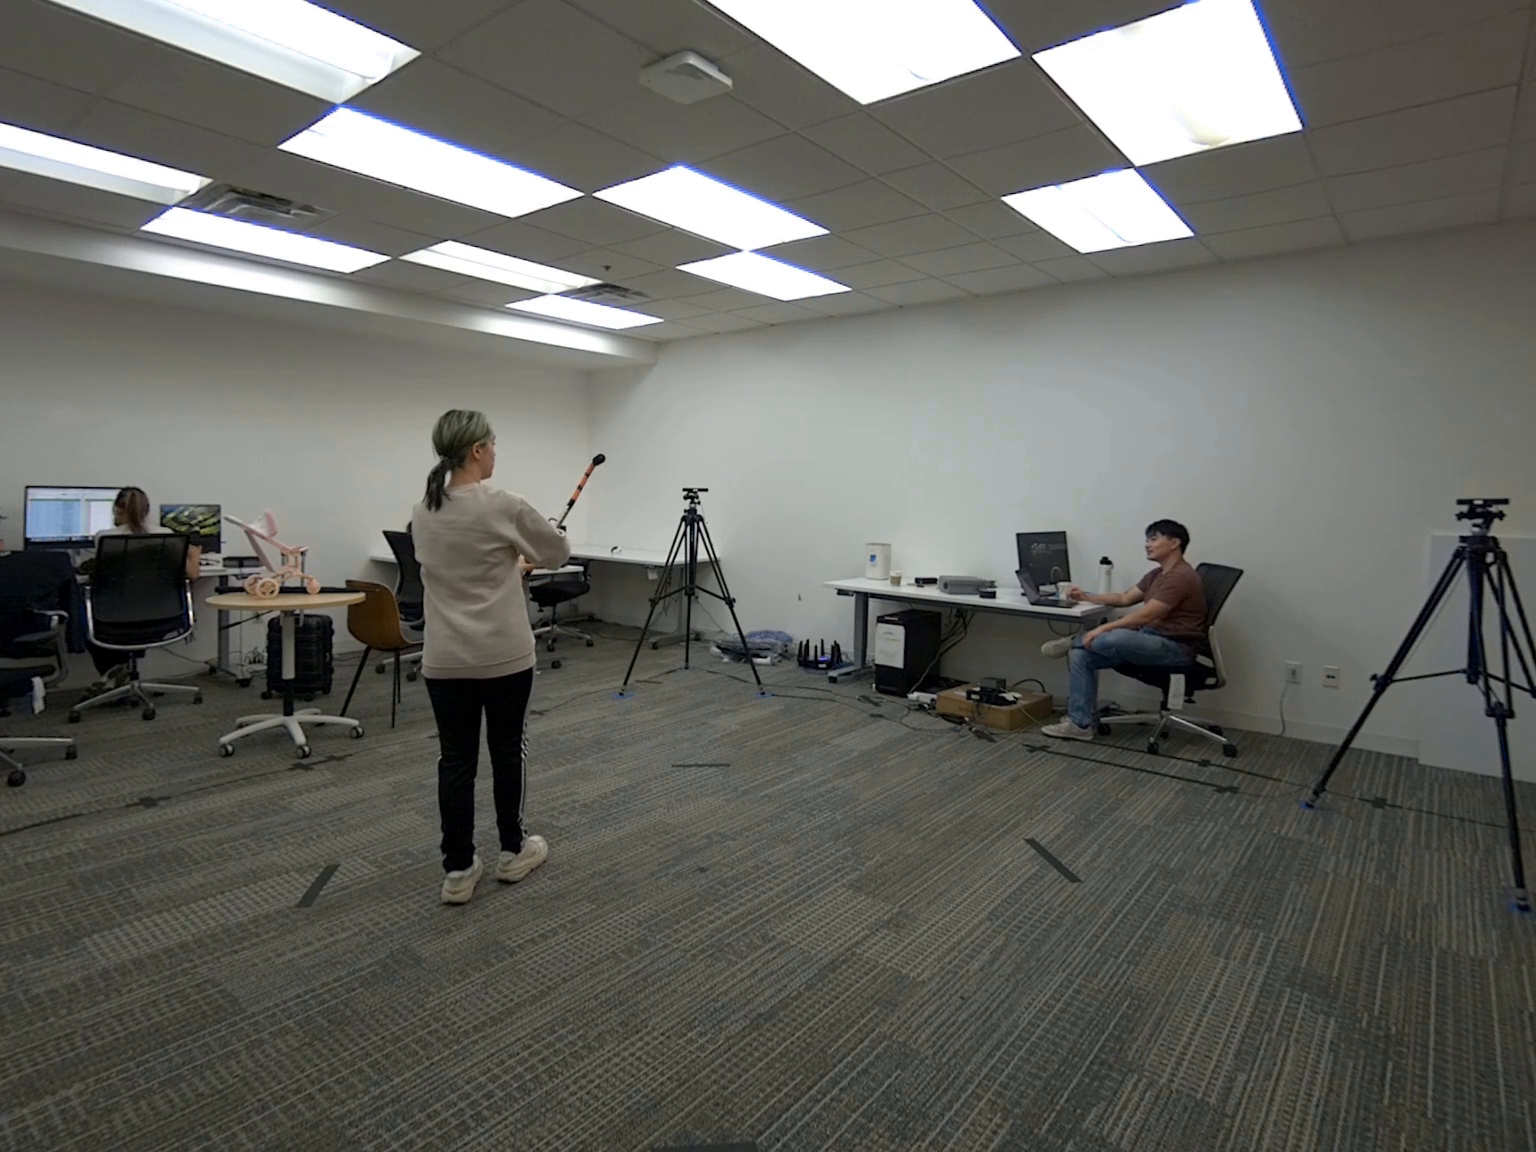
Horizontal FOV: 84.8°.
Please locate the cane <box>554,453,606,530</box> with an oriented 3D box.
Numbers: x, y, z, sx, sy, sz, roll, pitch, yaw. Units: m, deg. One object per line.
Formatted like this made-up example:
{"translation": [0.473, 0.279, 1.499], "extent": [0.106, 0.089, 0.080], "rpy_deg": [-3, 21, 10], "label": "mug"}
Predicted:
{"translation": [-0.889, -0.074, 3.330], "extent": [0.148, 0.912, 0.210], "rpy_deg": [30, -11, -18], "label": "cane"}
